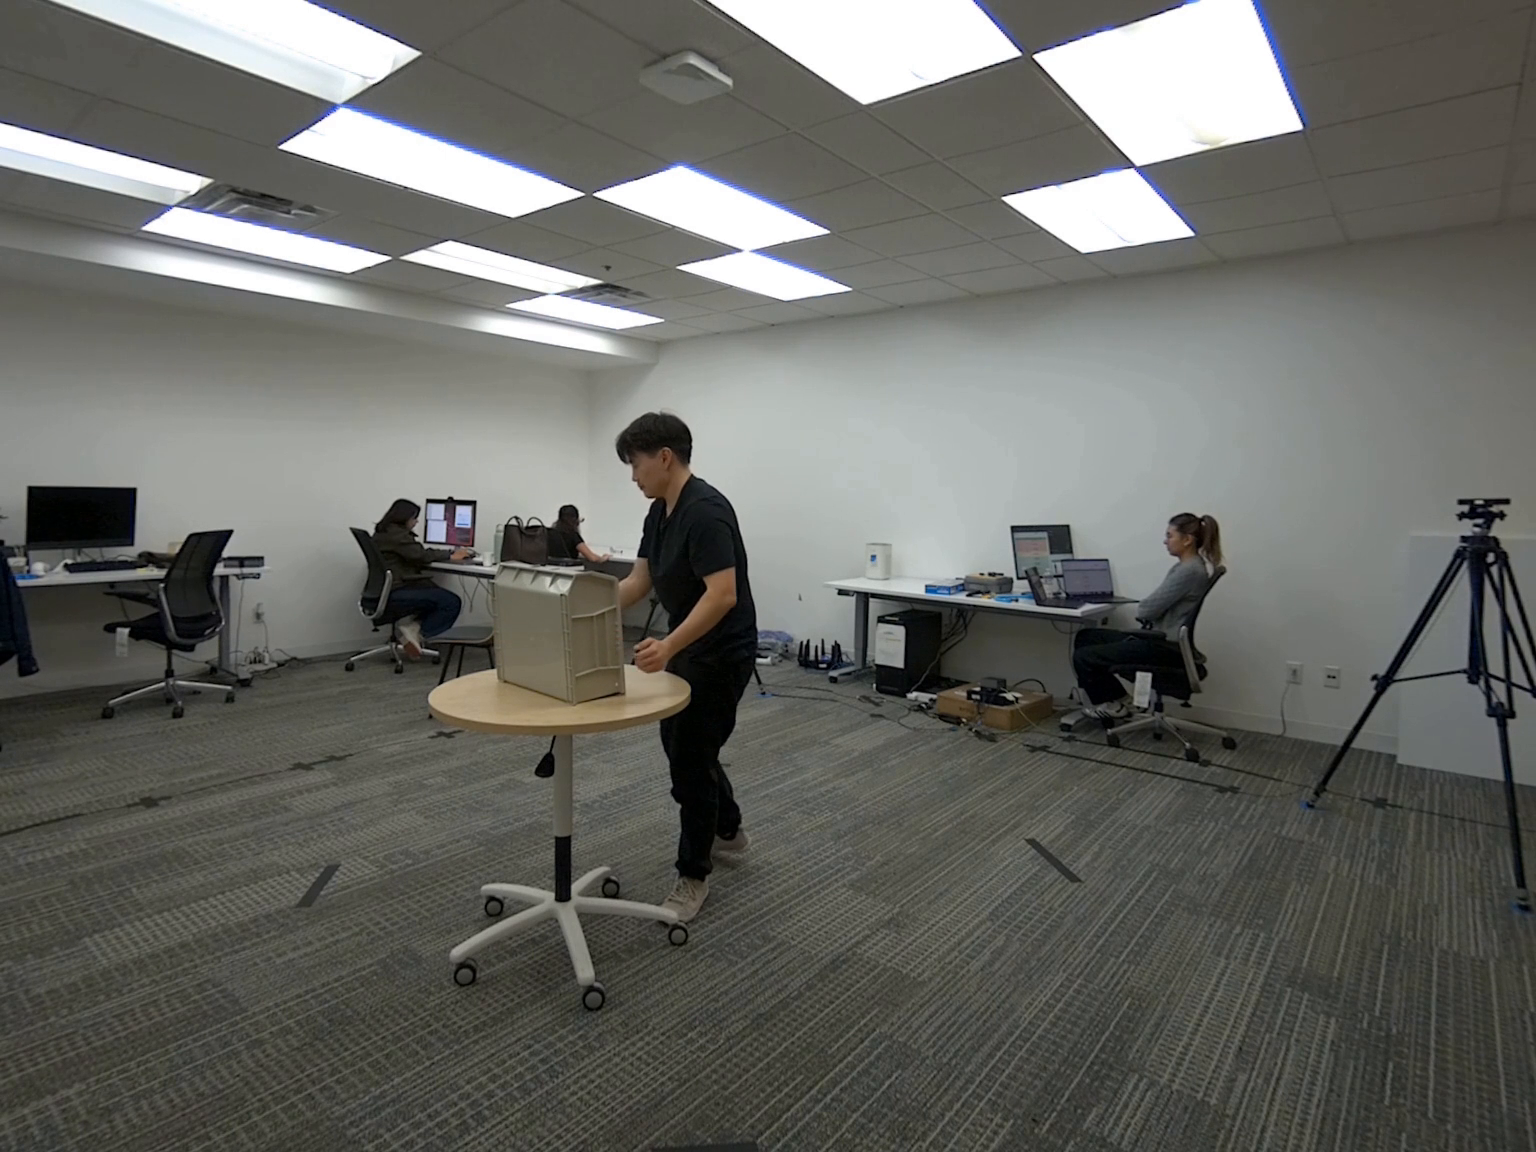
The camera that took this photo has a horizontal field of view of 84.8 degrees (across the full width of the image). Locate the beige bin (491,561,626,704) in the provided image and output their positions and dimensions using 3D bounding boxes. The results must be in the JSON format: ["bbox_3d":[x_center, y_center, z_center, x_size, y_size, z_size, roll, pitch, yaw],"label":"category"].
[{"bbox_3d":[-0.650,0.157,2.533,0.437,0.374,0.184,5,11,44],"label":"beige bin"}]
